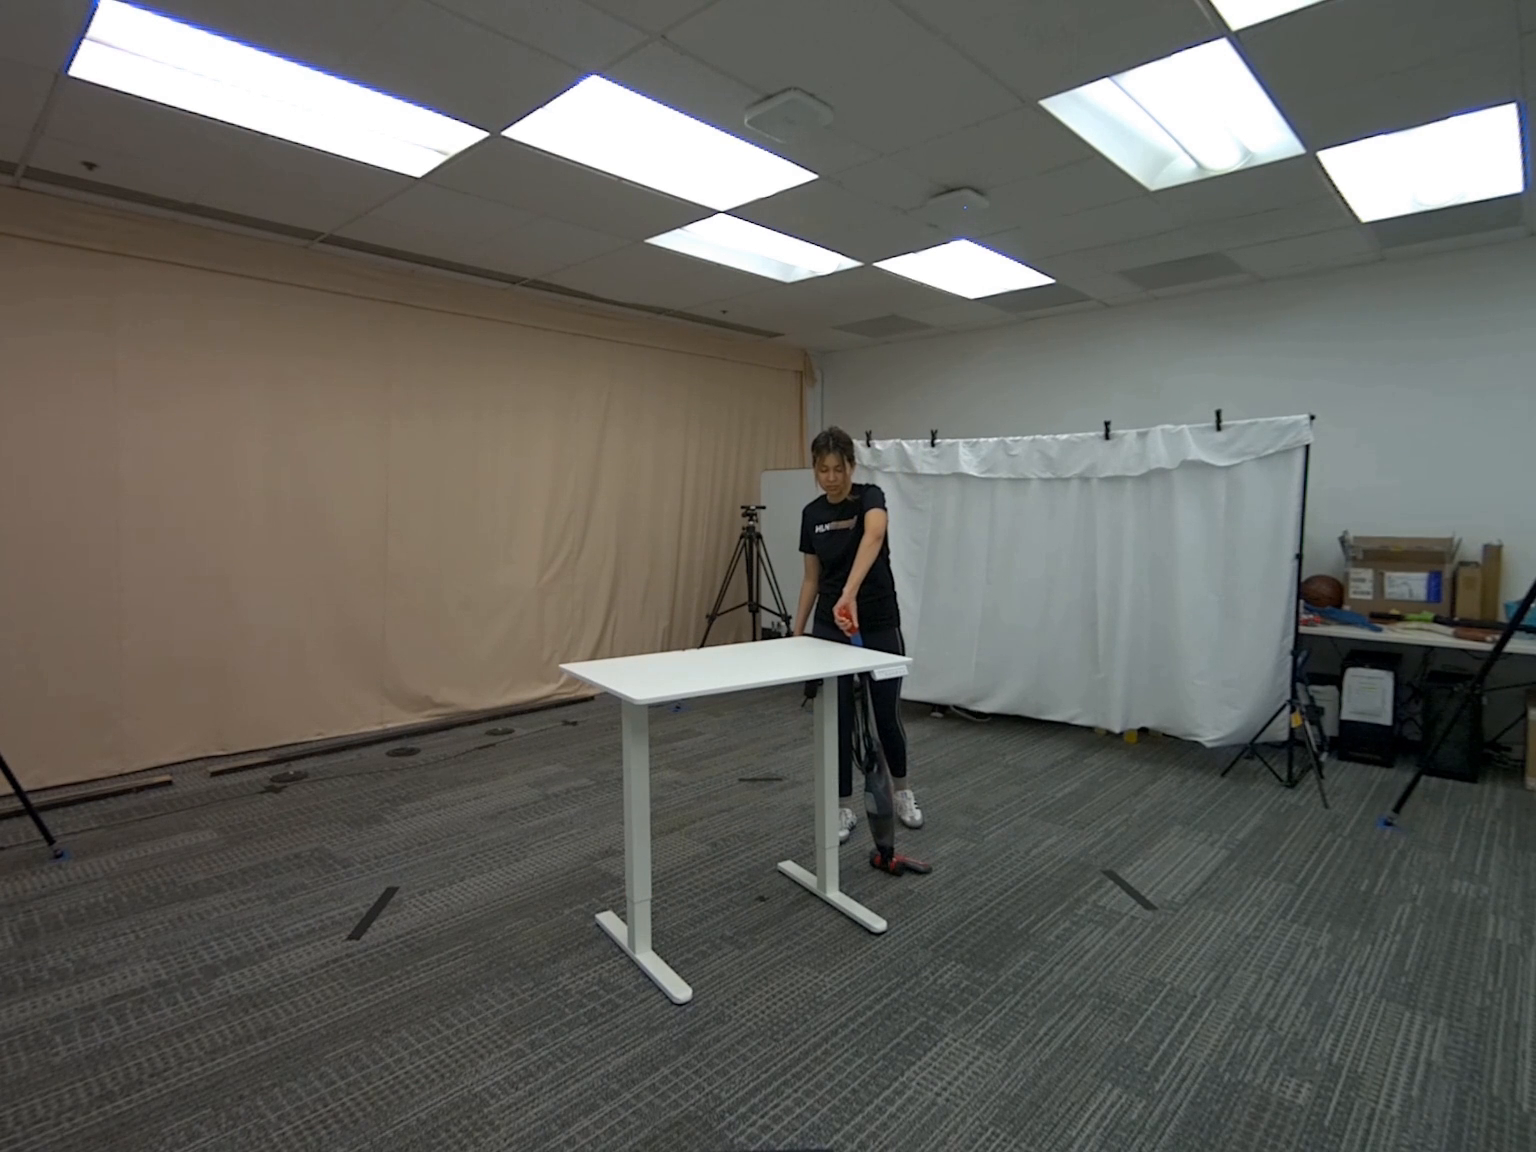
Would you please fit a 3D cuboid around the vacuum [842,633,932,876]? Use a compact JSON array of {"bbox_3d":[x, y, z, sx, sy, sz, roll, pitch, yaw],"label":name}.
[{"bbox_3d":[0.383,0.641,3.122,0.261,1.037,0.141,0,19,40],"label":"vacuum"}]
